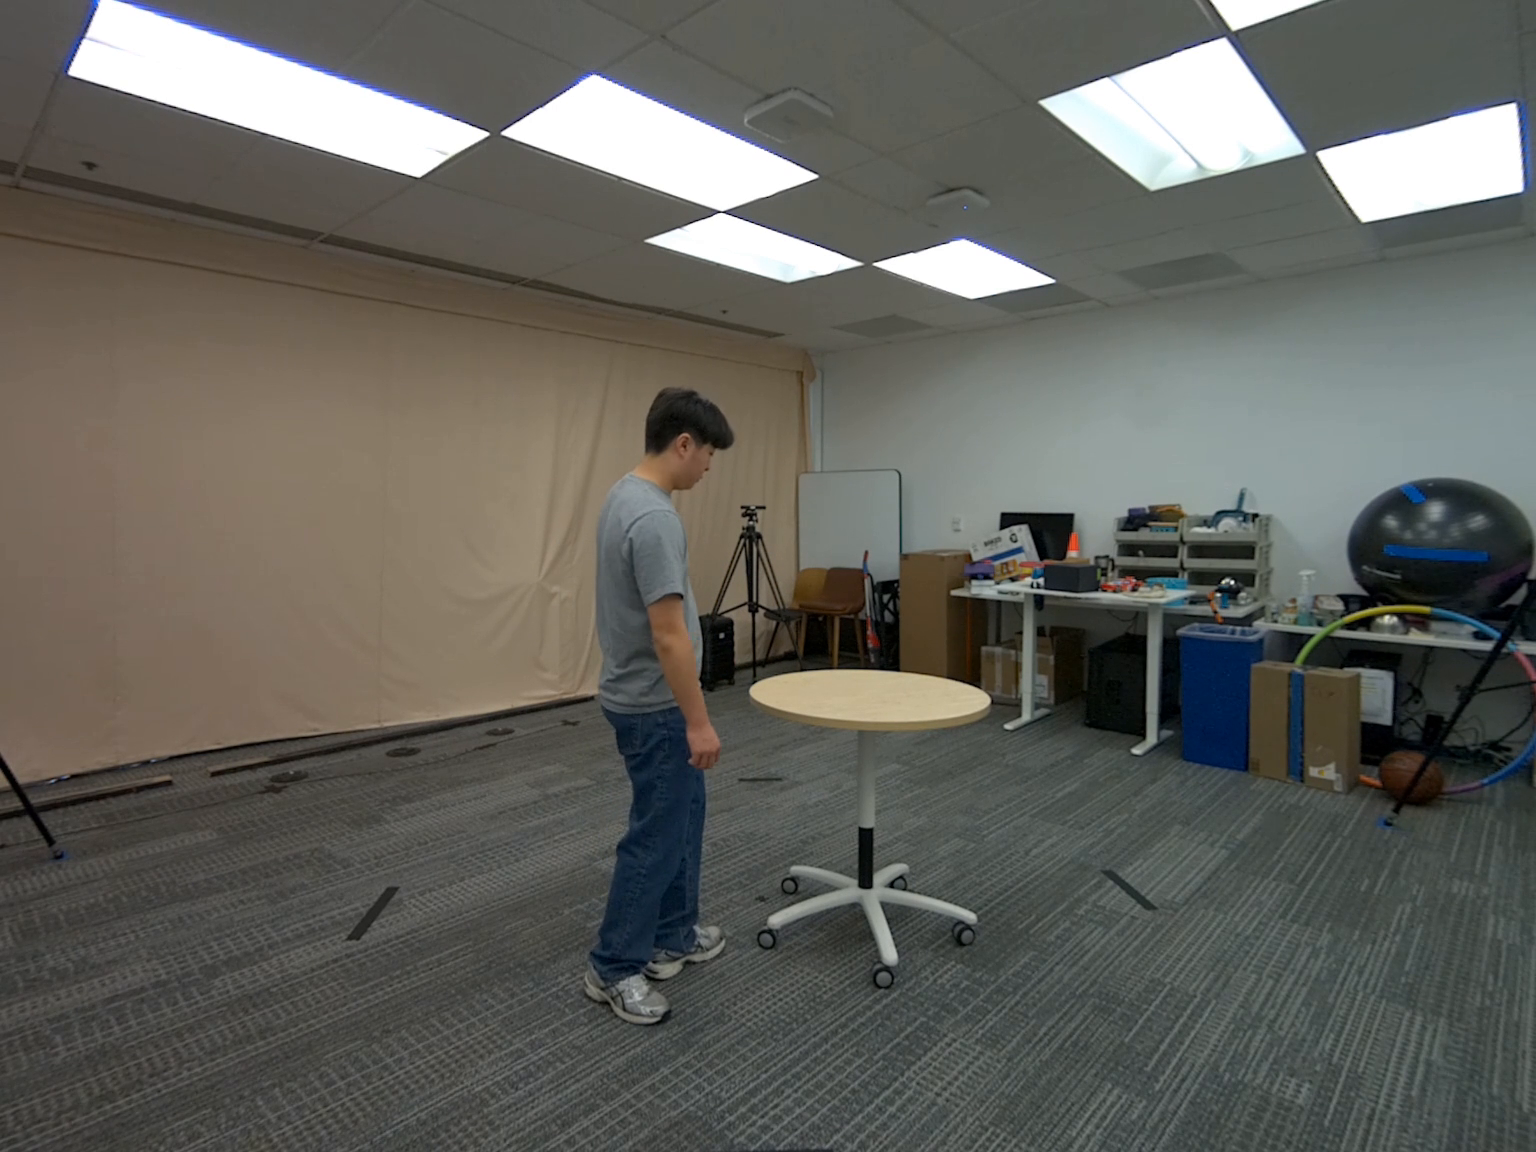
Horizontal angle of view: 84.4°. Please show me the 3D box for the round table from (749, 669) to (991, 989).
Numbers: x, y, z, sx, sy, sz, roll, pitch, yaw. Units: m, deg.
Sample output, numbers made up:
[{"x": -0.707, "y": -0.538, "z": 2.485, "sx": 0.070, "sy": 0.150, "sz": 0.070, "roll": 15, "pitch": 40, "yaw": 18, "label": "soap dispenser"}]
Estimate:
[{"x": 0.328, "y": 0.775, "z": 2.757, "sx": 0.763, "sy": 0.792, "sz": 0.766, "roll": 0, "pitch": 4, "yaw": -2, "label": "round table"}]
